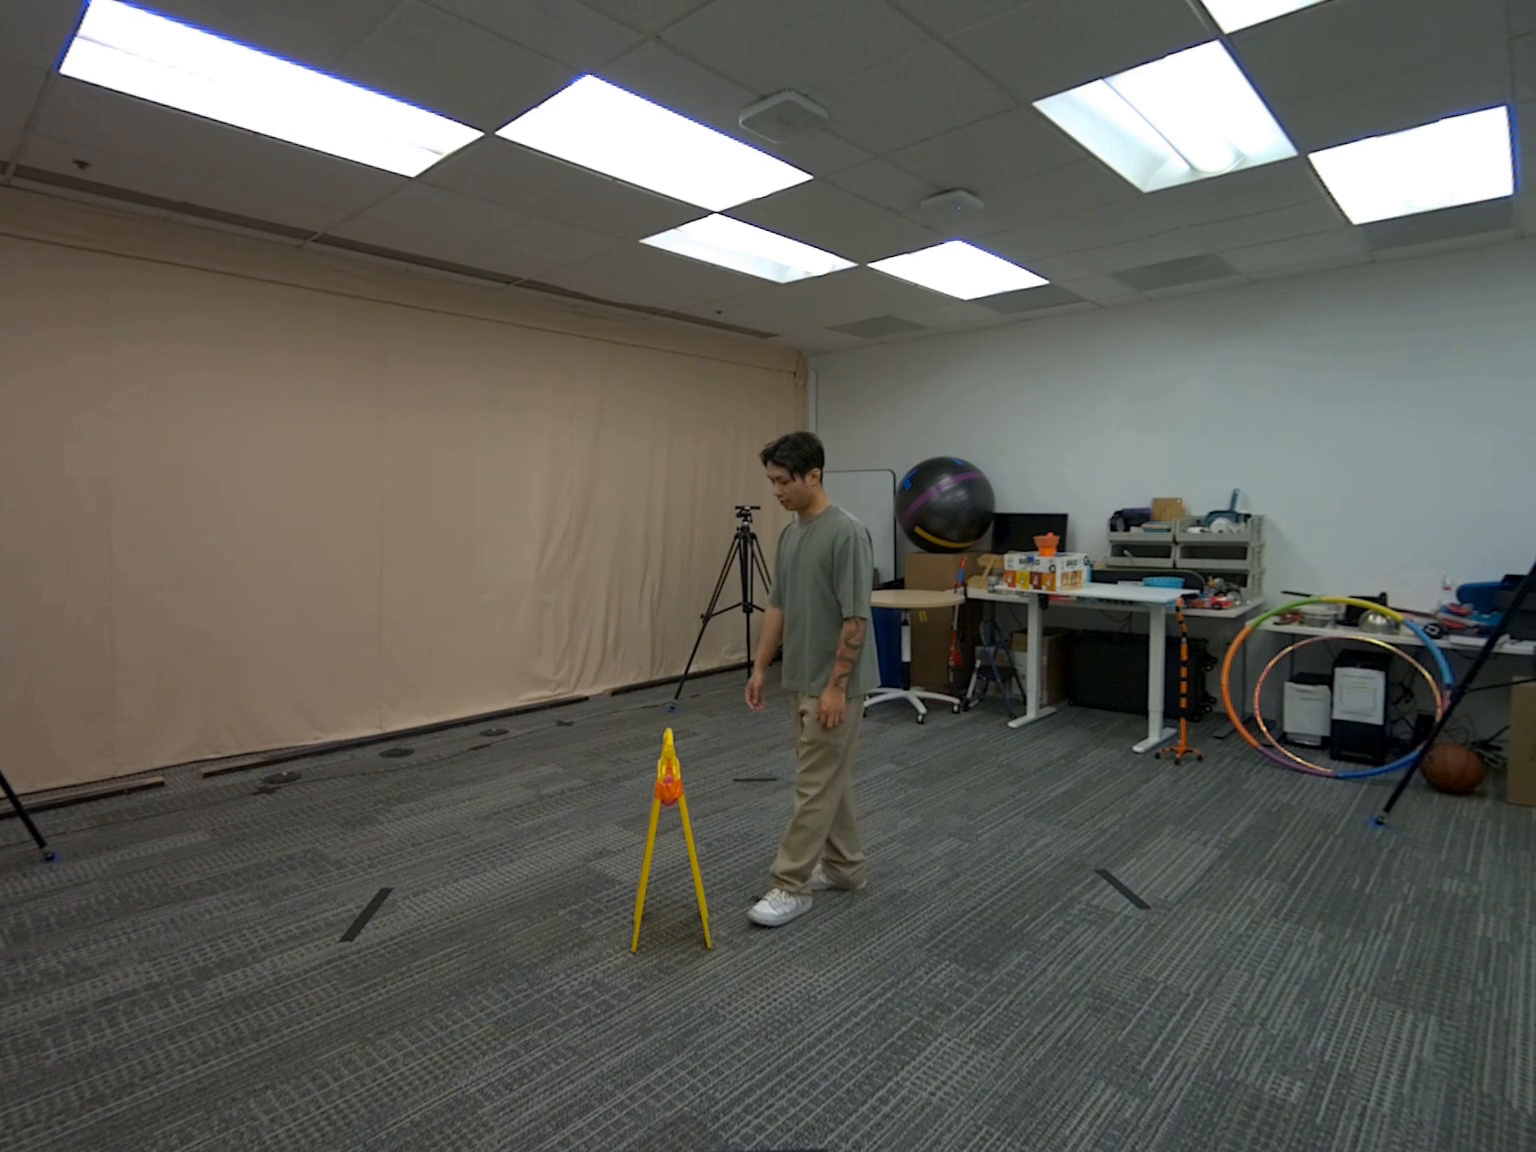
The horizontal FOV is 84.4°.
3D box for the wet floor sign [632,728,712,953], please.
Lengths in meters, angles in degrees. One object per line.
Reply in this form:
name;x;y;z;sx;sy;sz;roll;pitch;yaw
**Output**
wet floor sign;-0.317;0.845;2.752;0.288;0.645;0.284;-1;2;-5
